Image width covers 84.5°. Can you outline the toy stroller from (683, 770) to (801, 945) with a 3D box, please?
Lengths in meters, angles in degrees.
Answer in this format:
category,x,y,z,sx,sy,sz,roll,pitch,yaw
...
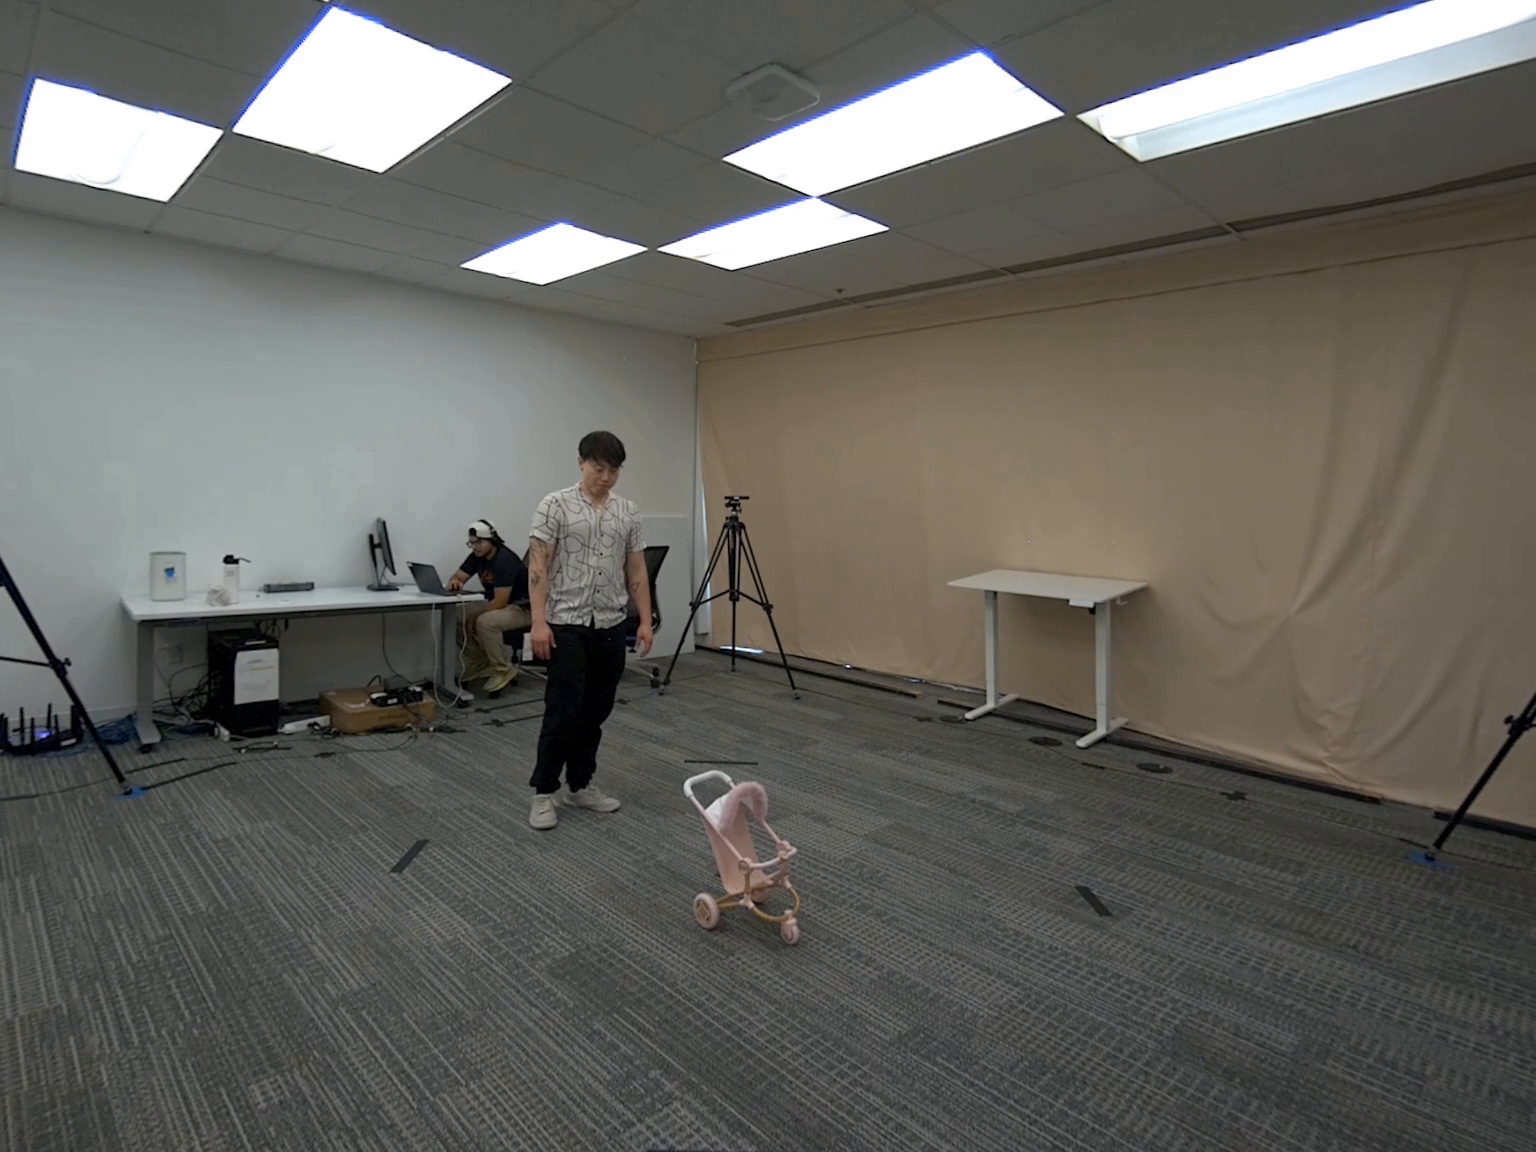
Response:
category,x,y,z,sx,sy,sz,roll,pitch,yaw
toy stroller,-0.072,0.913,2.751,0.275,0.538,0.347,-3,-10,-44
